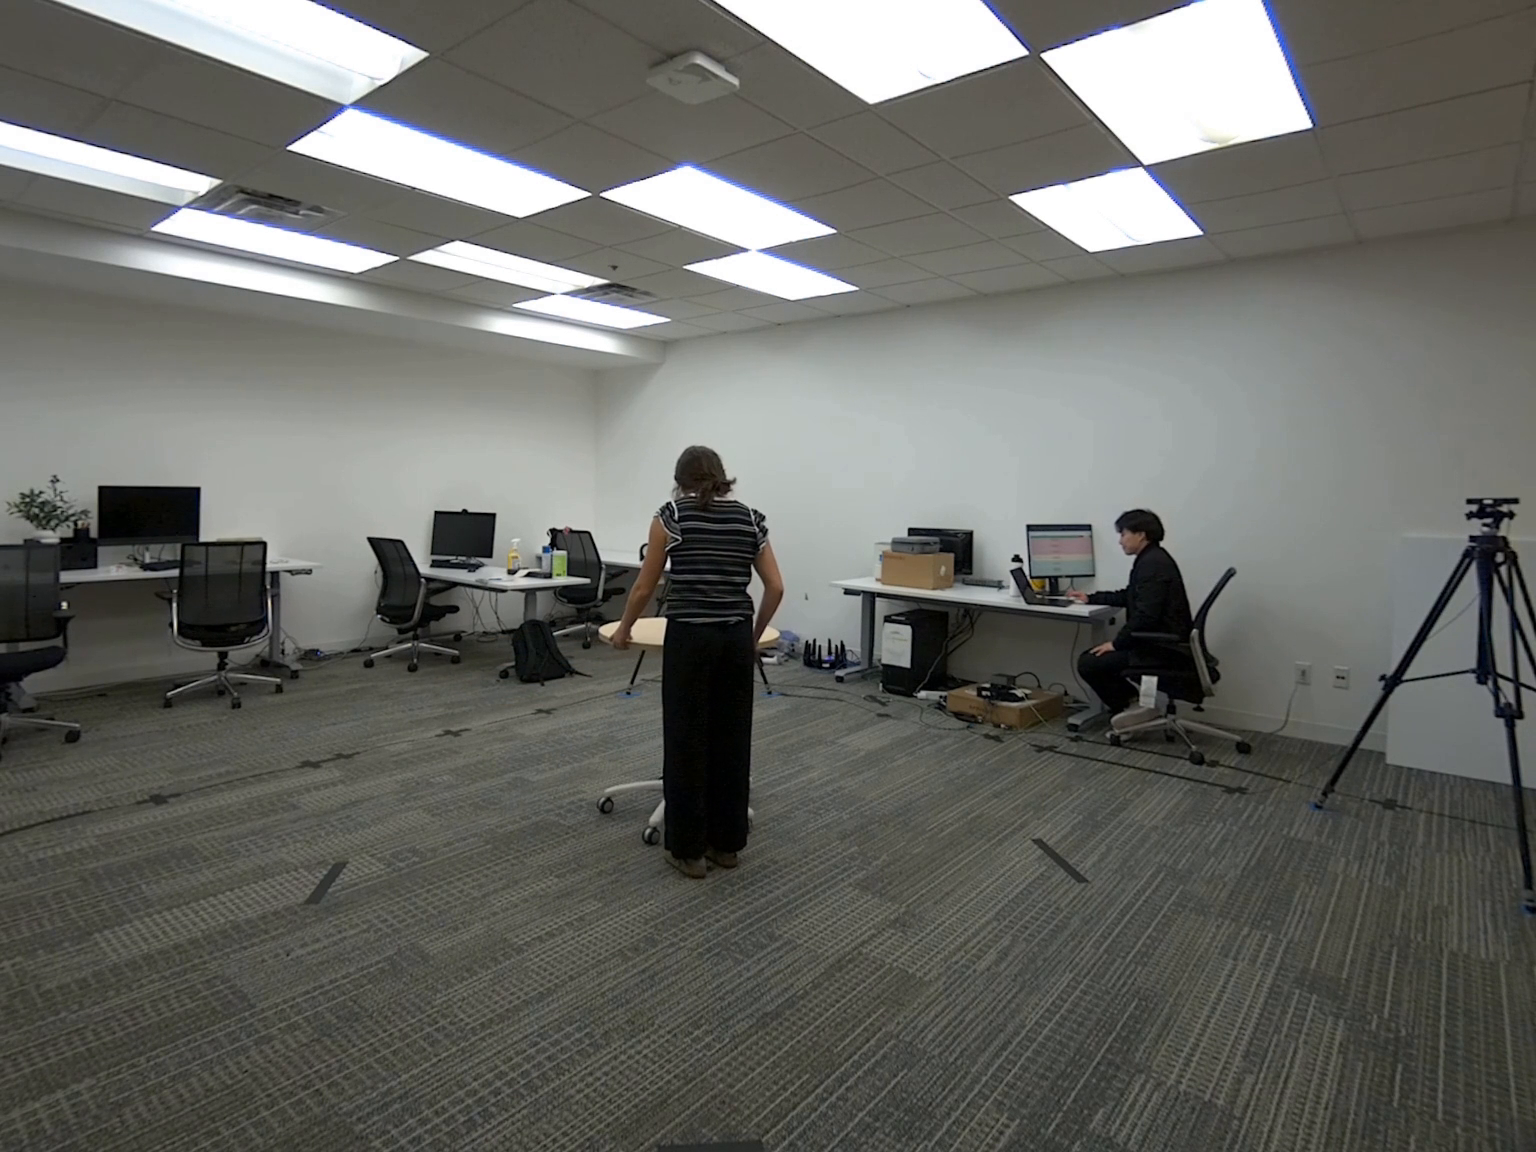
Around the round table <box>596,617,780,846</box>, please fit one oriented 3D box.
[{"bbox_3d":[-0.352,0.616,3.612,0.784,0.784,0.789,1,4,-2],"label":"round table"}]
